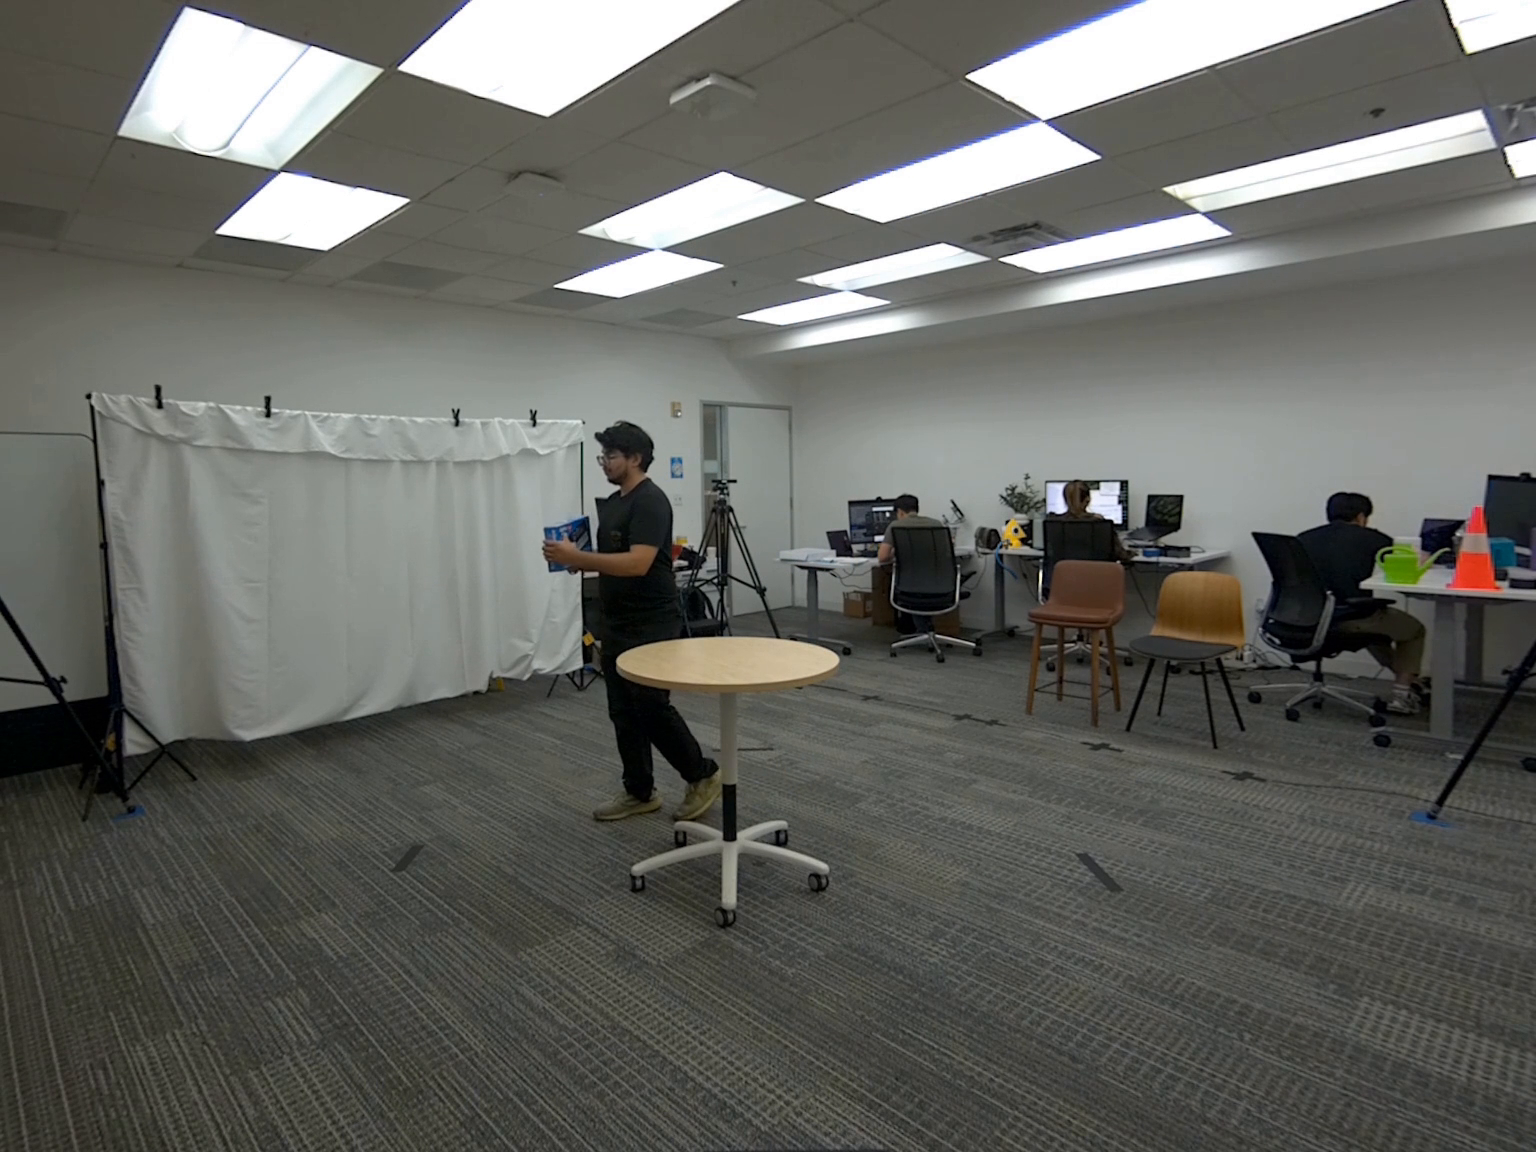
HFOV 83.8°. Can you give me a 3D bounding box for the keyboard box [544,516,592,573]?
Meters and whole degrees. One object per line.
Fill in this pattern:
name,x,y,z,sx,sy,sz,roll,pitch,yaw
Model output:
keyboard box,-0.799,-0.138,3.443,0.059,0.175,0.437,-4,9,5
